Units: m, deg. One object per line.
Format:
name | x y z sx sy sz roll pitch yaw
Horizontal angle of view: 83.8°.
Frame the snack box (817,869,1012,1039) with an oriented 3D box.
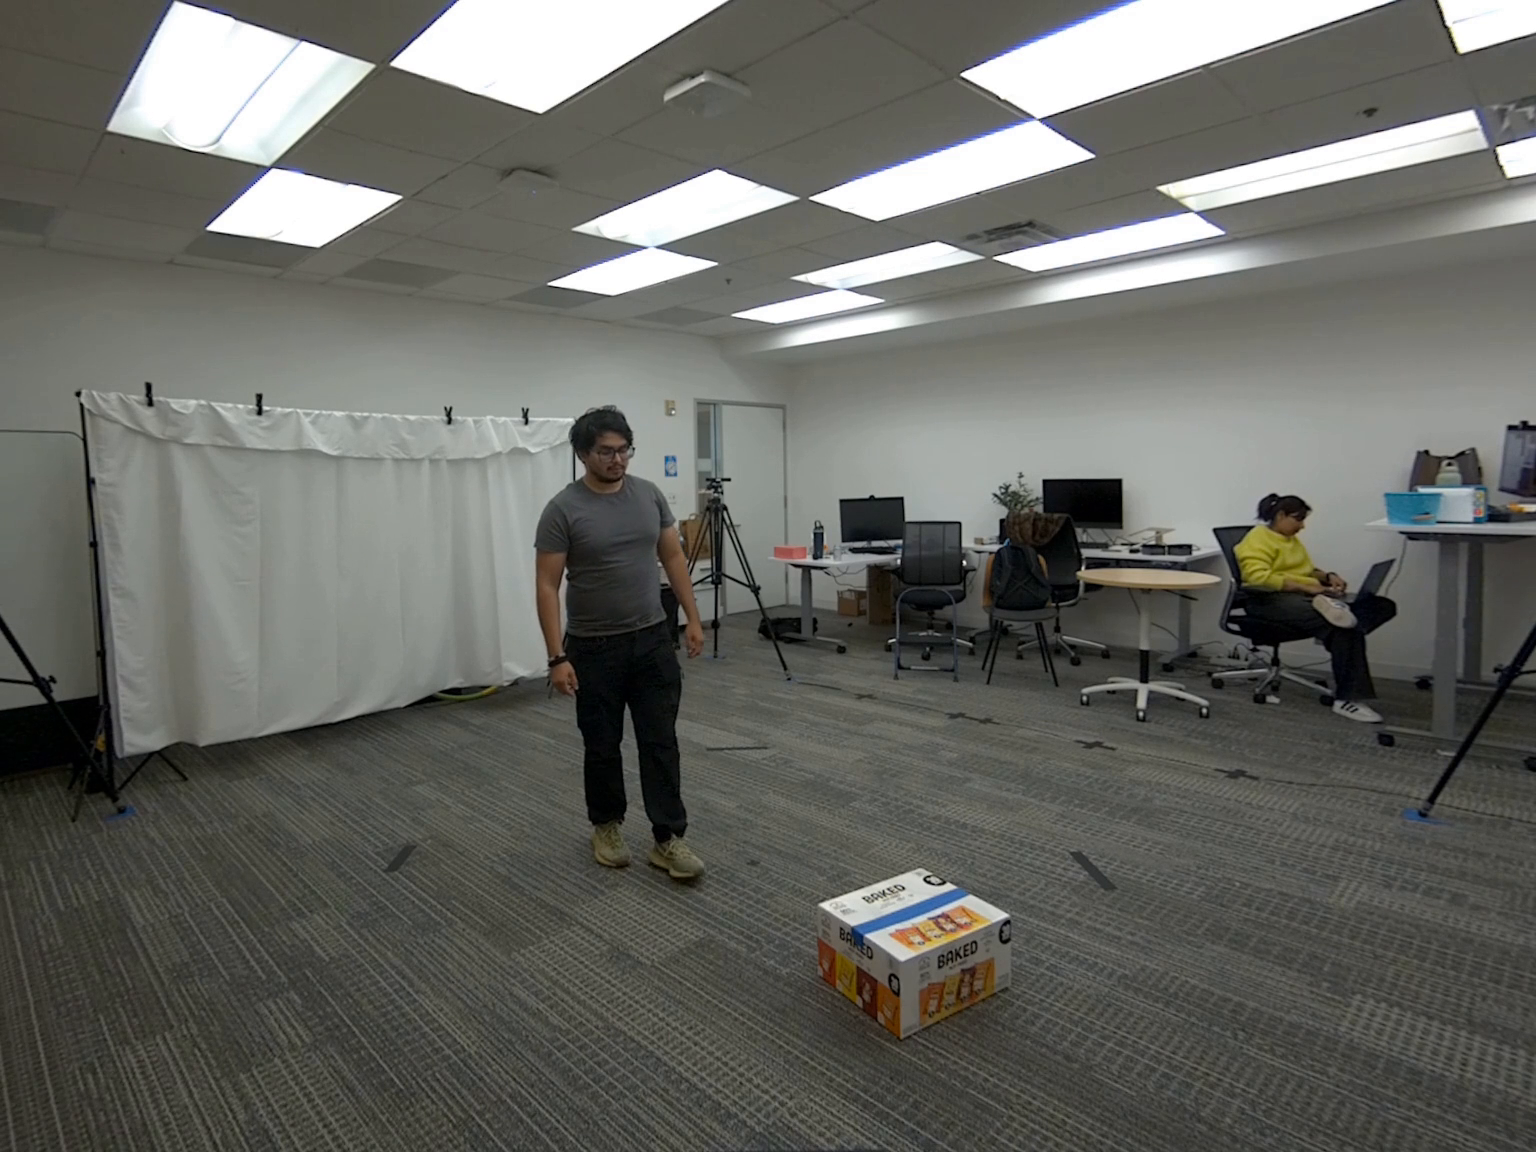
snack box | 0.407 1.021 2.353 0.395 0.205 0.350 -6 8 -33
